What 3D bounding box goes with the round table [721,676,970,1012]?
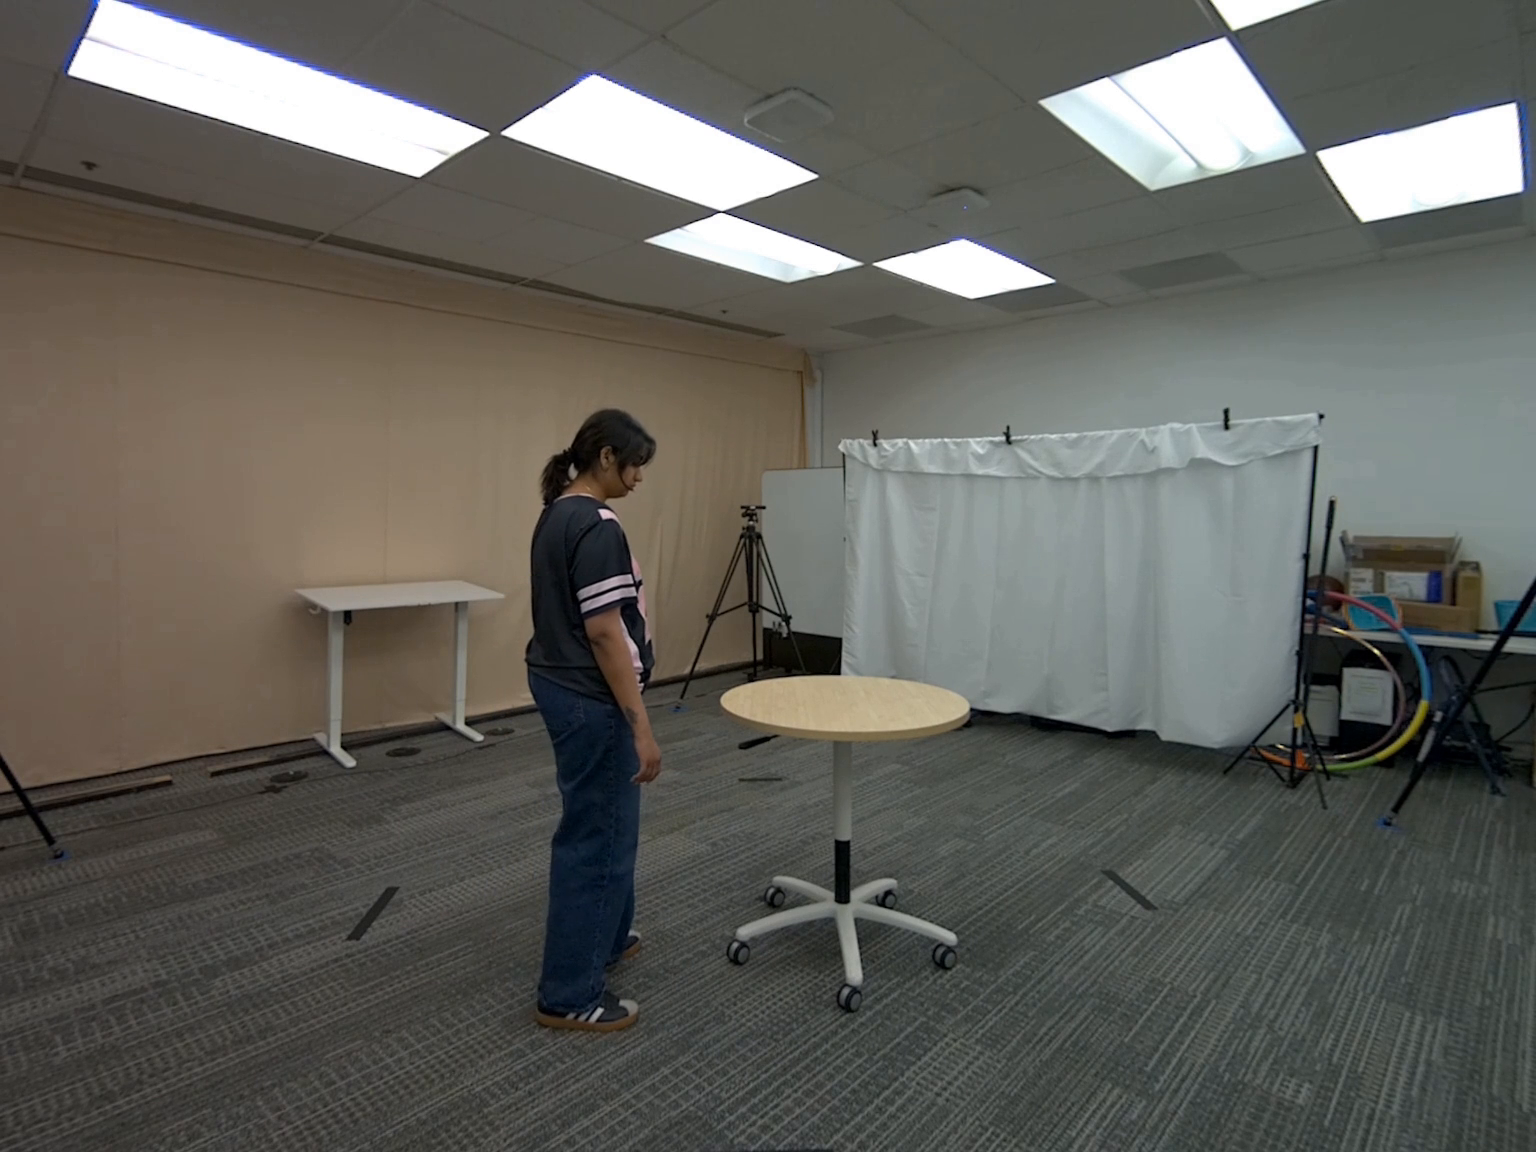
[{"bbox_3d":[0.237,0.783,2.647,0.763,0.792,0.766,0,4,-2],"label":"round table"}]
